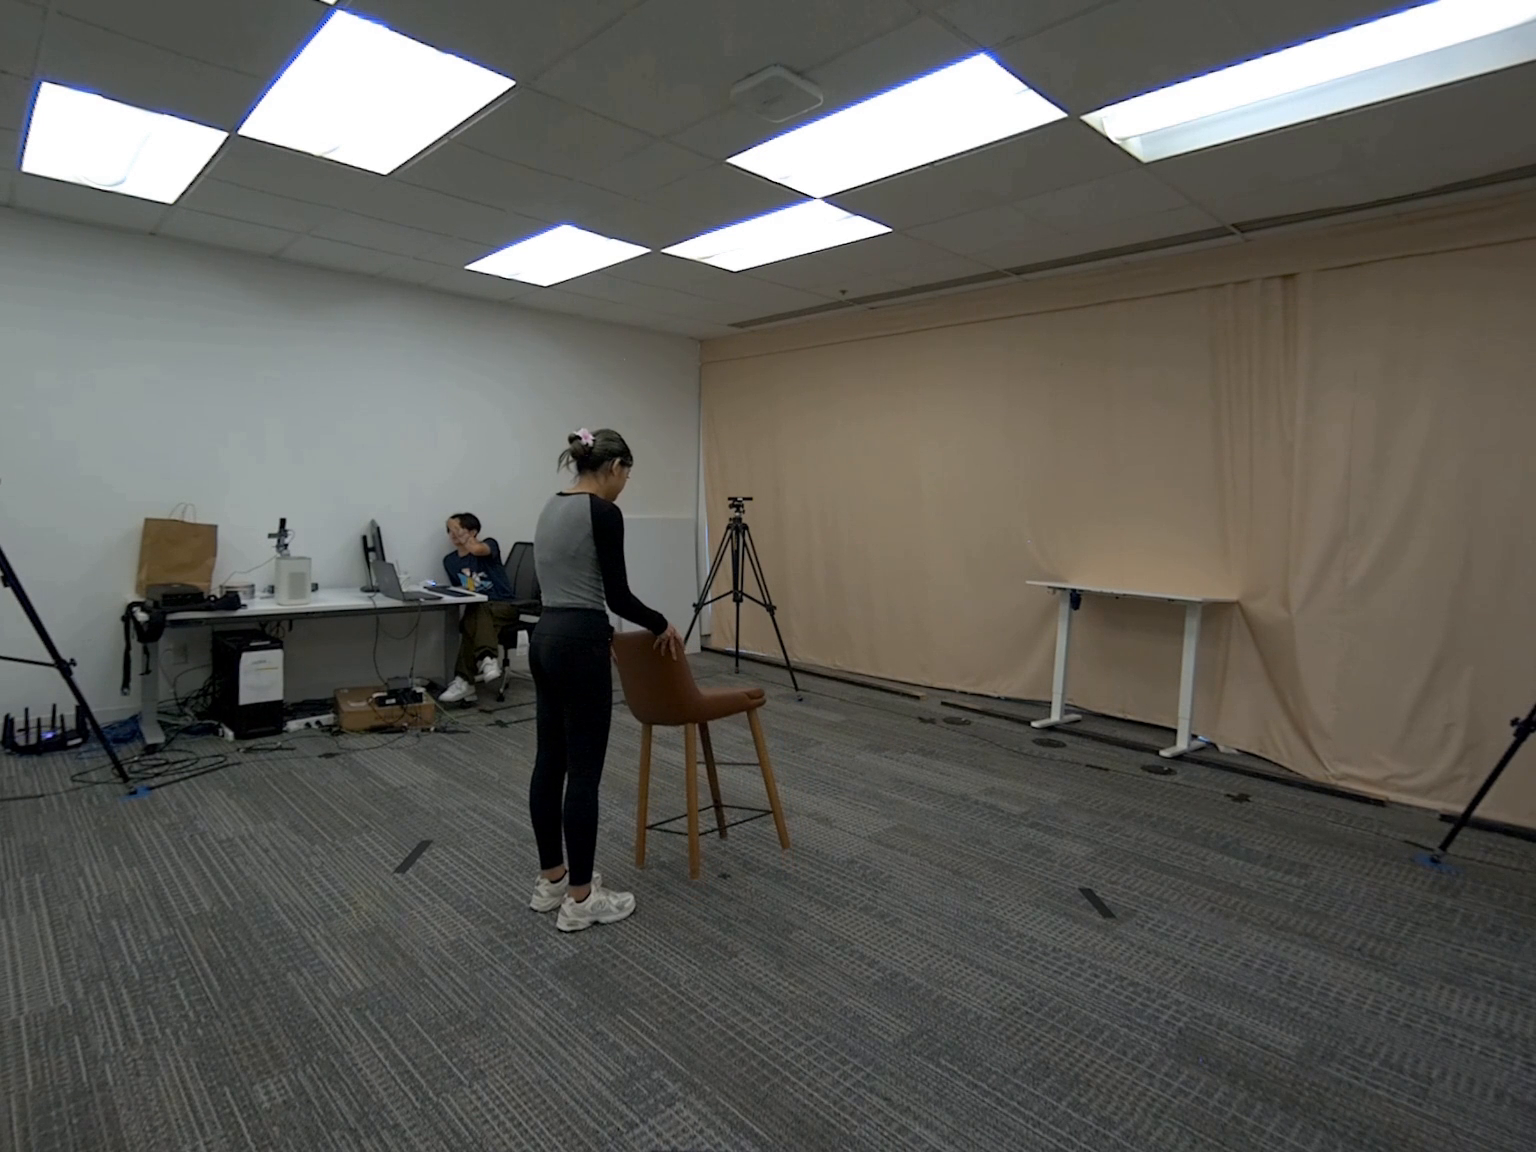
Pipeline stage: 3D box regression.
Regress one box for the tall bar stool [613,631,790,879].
[{"bbox_3d":[-0.277,0.629,3.212,0.458,0.893,0.465,-6,-4,-41],"label":"tall bar stool"}]
